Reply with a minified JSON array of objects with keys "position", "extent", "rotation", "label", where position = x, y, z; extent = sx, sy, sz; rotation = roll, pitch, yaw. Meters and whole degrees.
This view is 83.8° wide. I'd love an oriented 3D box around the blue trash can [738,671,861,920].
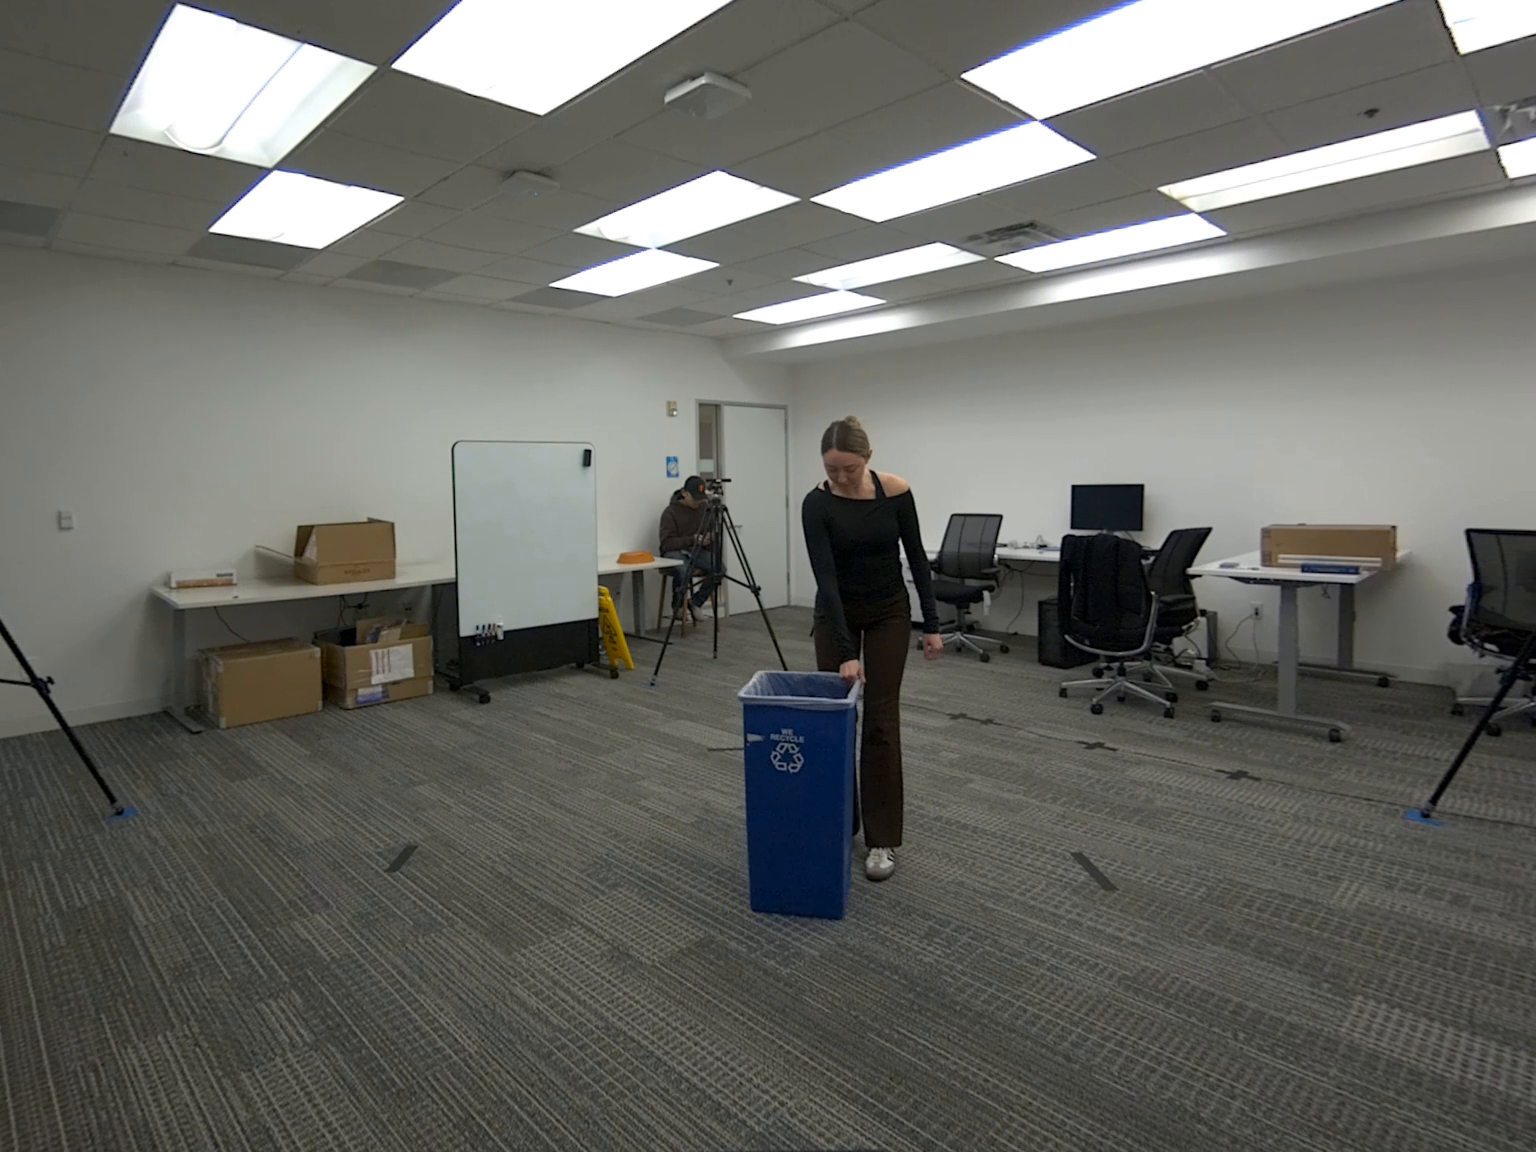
[{"position":[0.119,0.711,2.849],"extent":[0.378,0.711,0.375],"rotation":[-1,4,12],"label":"blue trash can"}]
